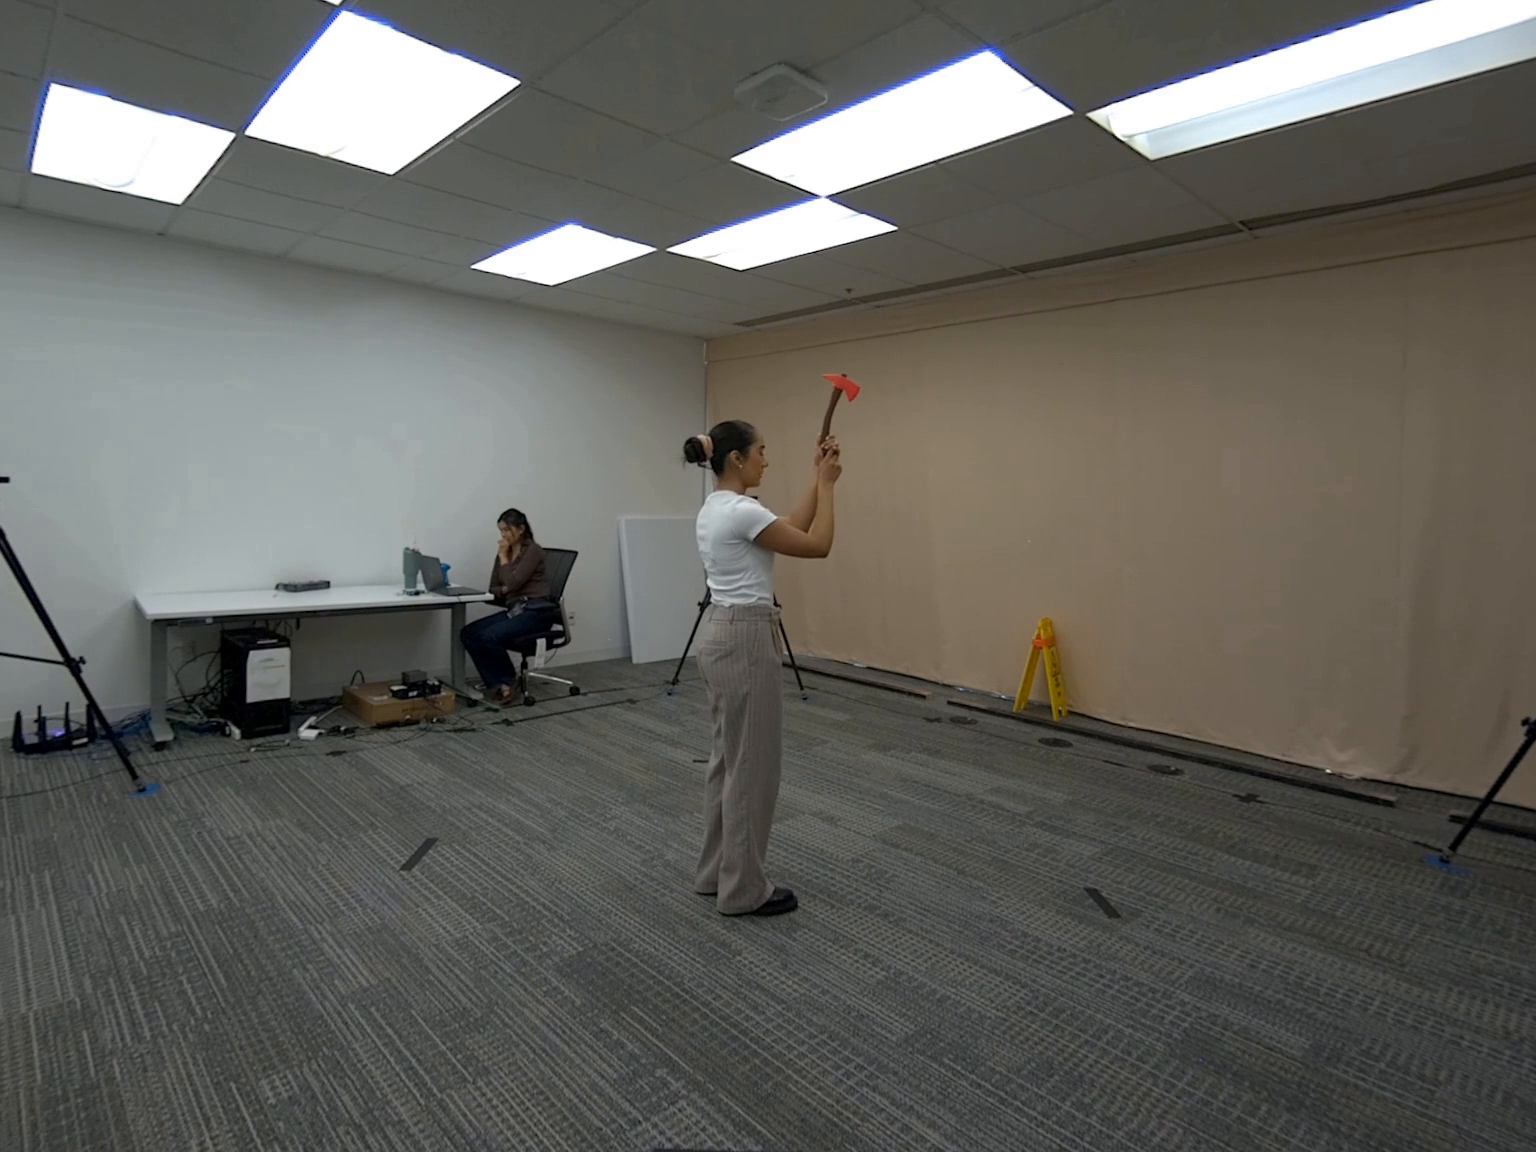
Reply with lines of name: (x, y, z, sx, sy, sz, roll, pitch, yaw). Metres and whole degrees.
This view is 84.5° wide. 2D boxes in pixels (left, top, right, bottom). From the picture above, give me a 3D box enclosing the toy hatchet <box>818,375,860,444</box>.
toy hatchet: (0.238, -0.552, 2.852, 0.130, 0.269, 0.030, 2, 3, -6)
